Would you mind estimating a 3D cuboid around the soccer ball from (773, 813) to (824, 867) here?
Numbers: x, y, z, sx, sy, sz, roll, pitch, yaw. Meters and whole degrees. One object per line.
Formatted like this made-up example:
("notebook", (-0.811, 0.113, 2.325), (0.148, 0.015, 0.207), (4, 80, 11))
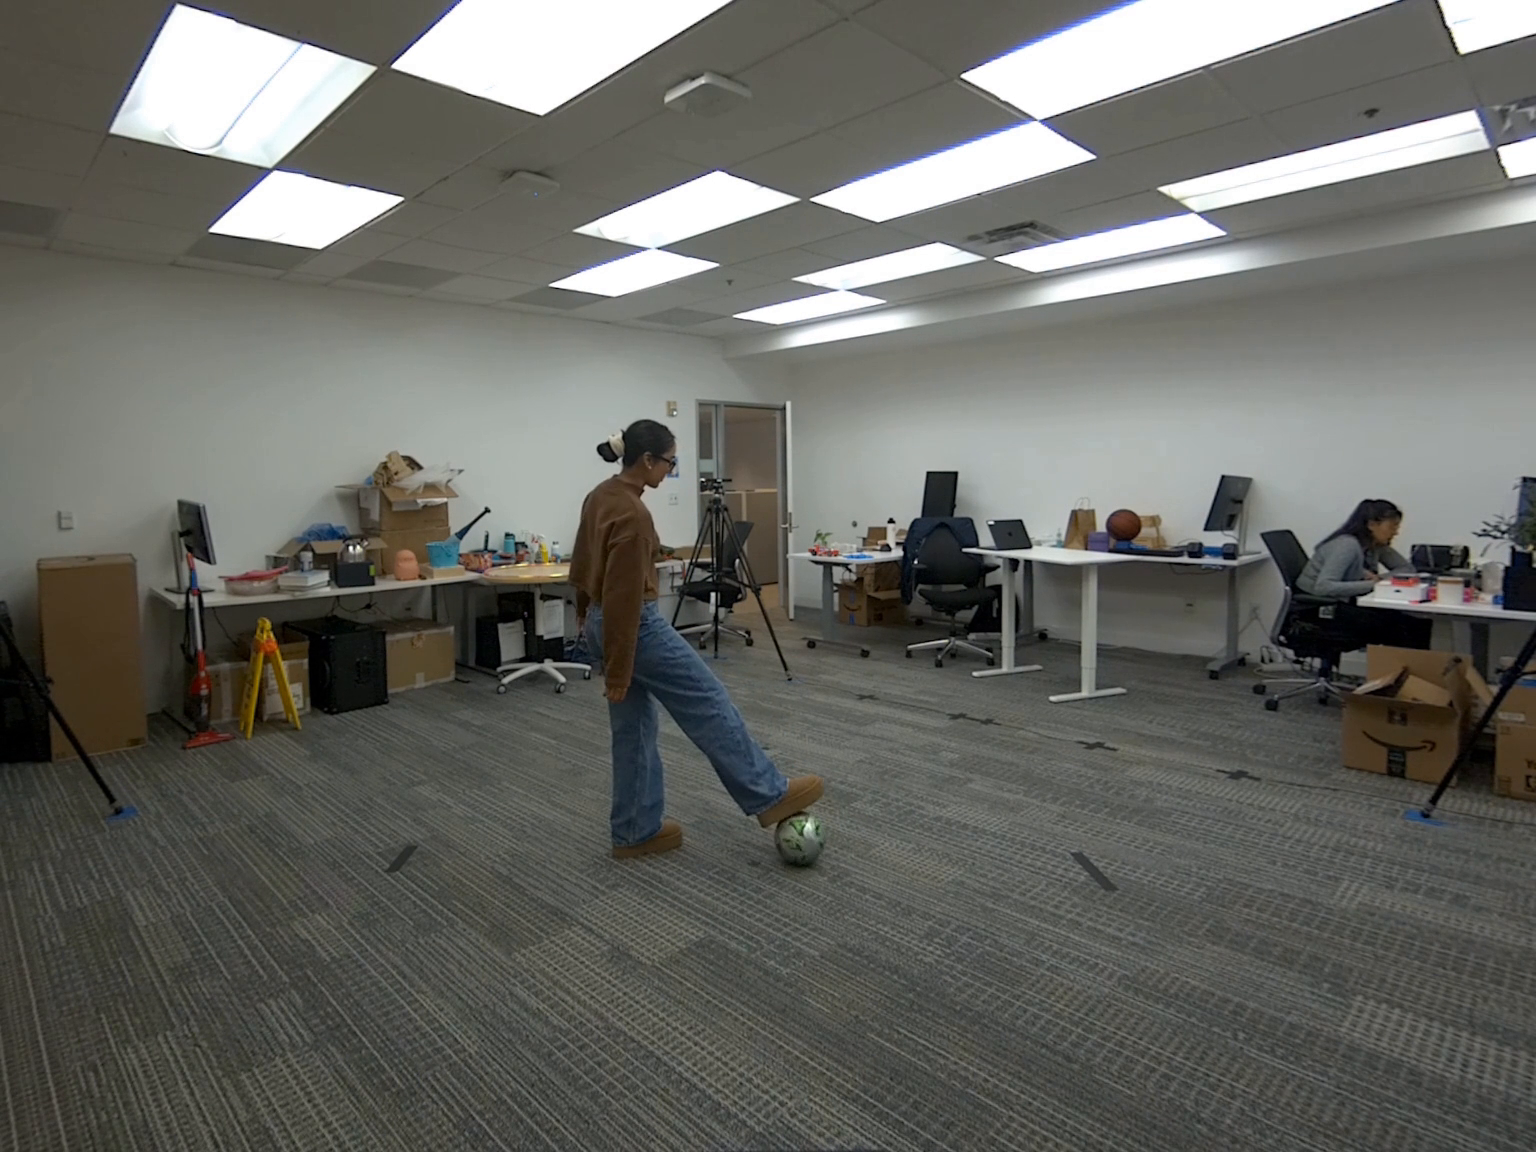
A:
("soccer ball", (0.111, 0.943, 3.103), (0.187, 0.187, 0.188), (-1, 5, -2))
